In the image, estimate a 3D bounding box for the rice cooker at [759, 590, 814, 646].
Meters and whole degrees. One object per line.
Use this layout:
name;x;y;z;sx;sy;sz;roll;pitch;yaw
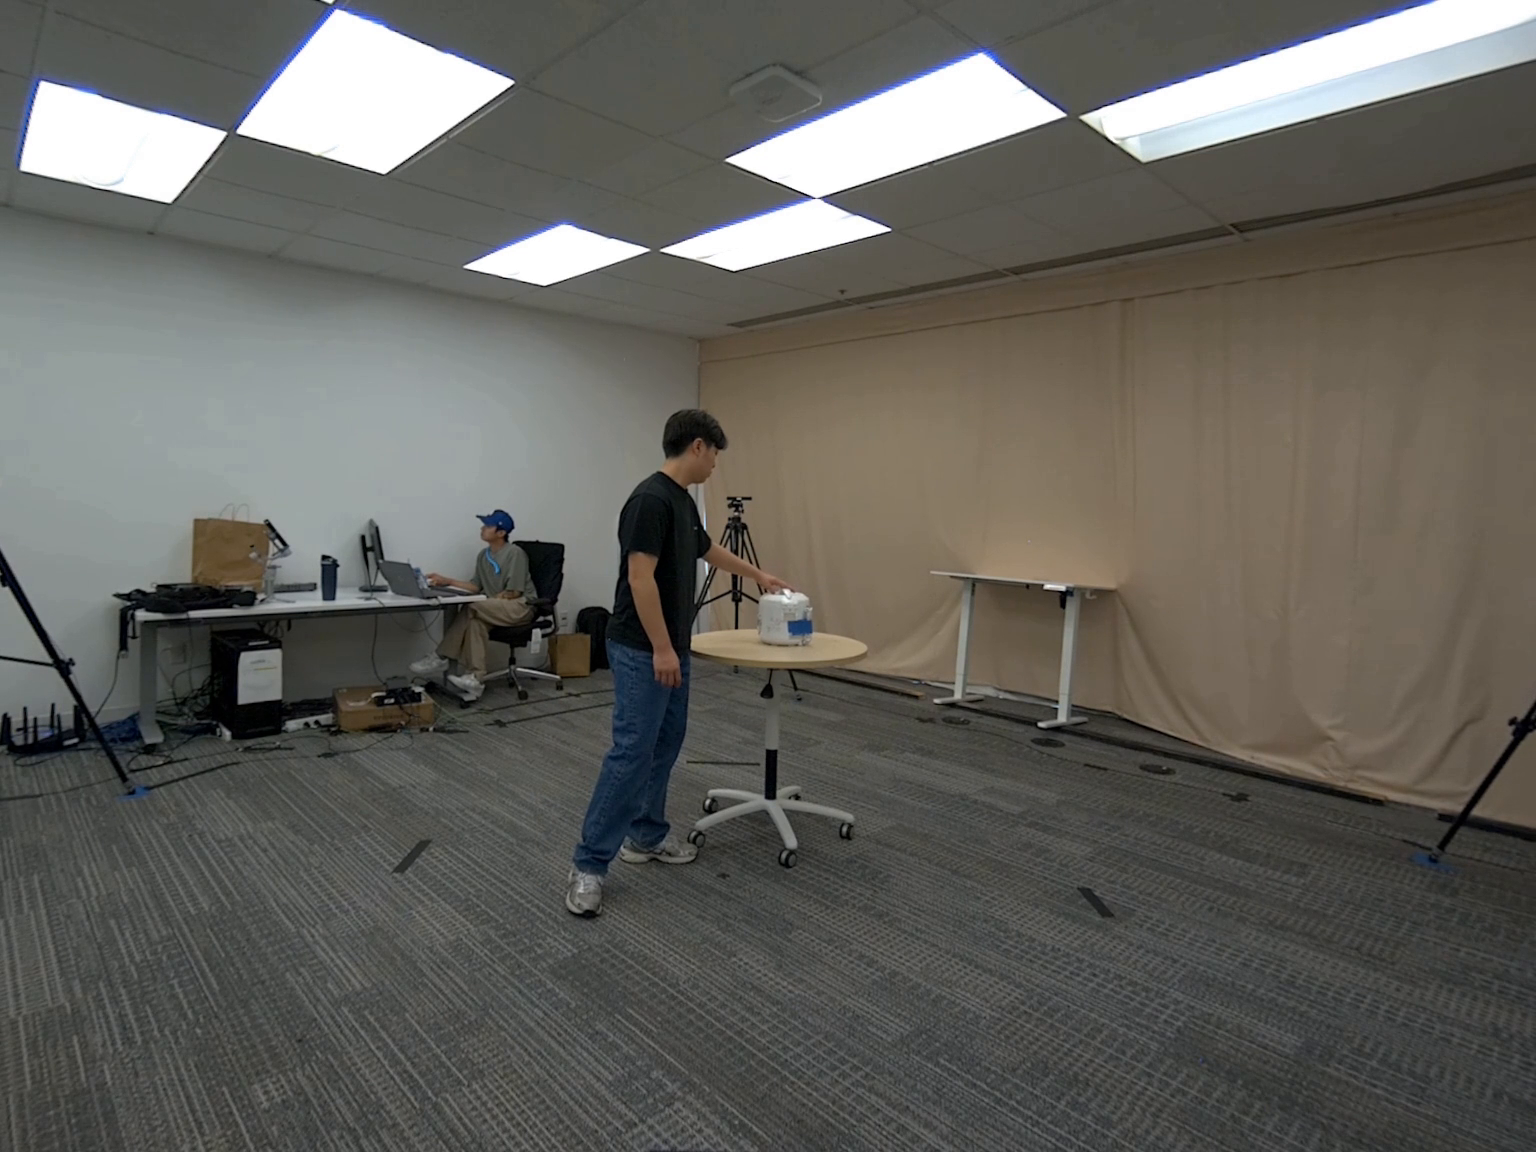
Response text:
rice cooker;0.062;0.164;3.521;0.216;0.232;0.223;1;4;-10
